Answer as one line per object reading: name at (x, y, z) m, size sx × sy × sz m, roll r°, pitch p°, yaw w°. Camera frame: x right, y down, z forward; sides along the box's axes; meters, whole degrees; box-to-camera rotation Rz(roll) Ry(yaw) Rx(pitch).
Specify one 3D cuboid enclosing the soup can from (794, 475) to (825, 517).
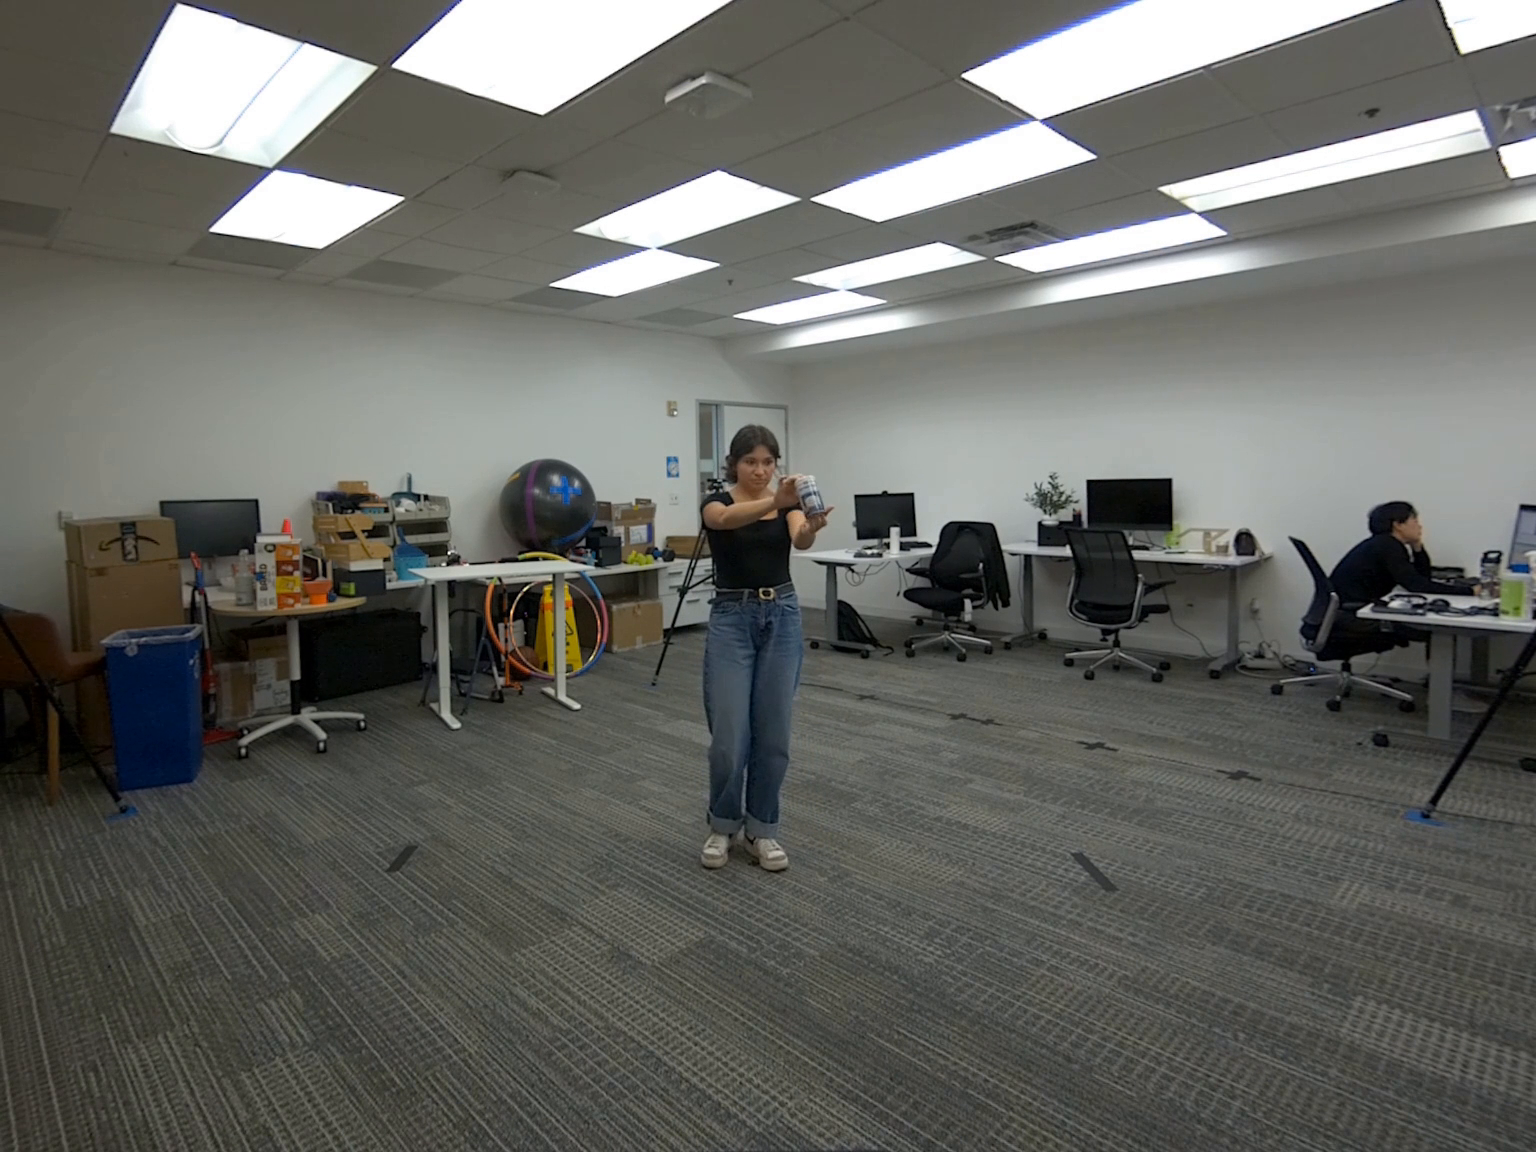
soup can at (0.123, -0.239, 2.590) m, size 0.067 × 0.123 × 0.066 m, roll -13°, pitch -11°, yaw -4°
